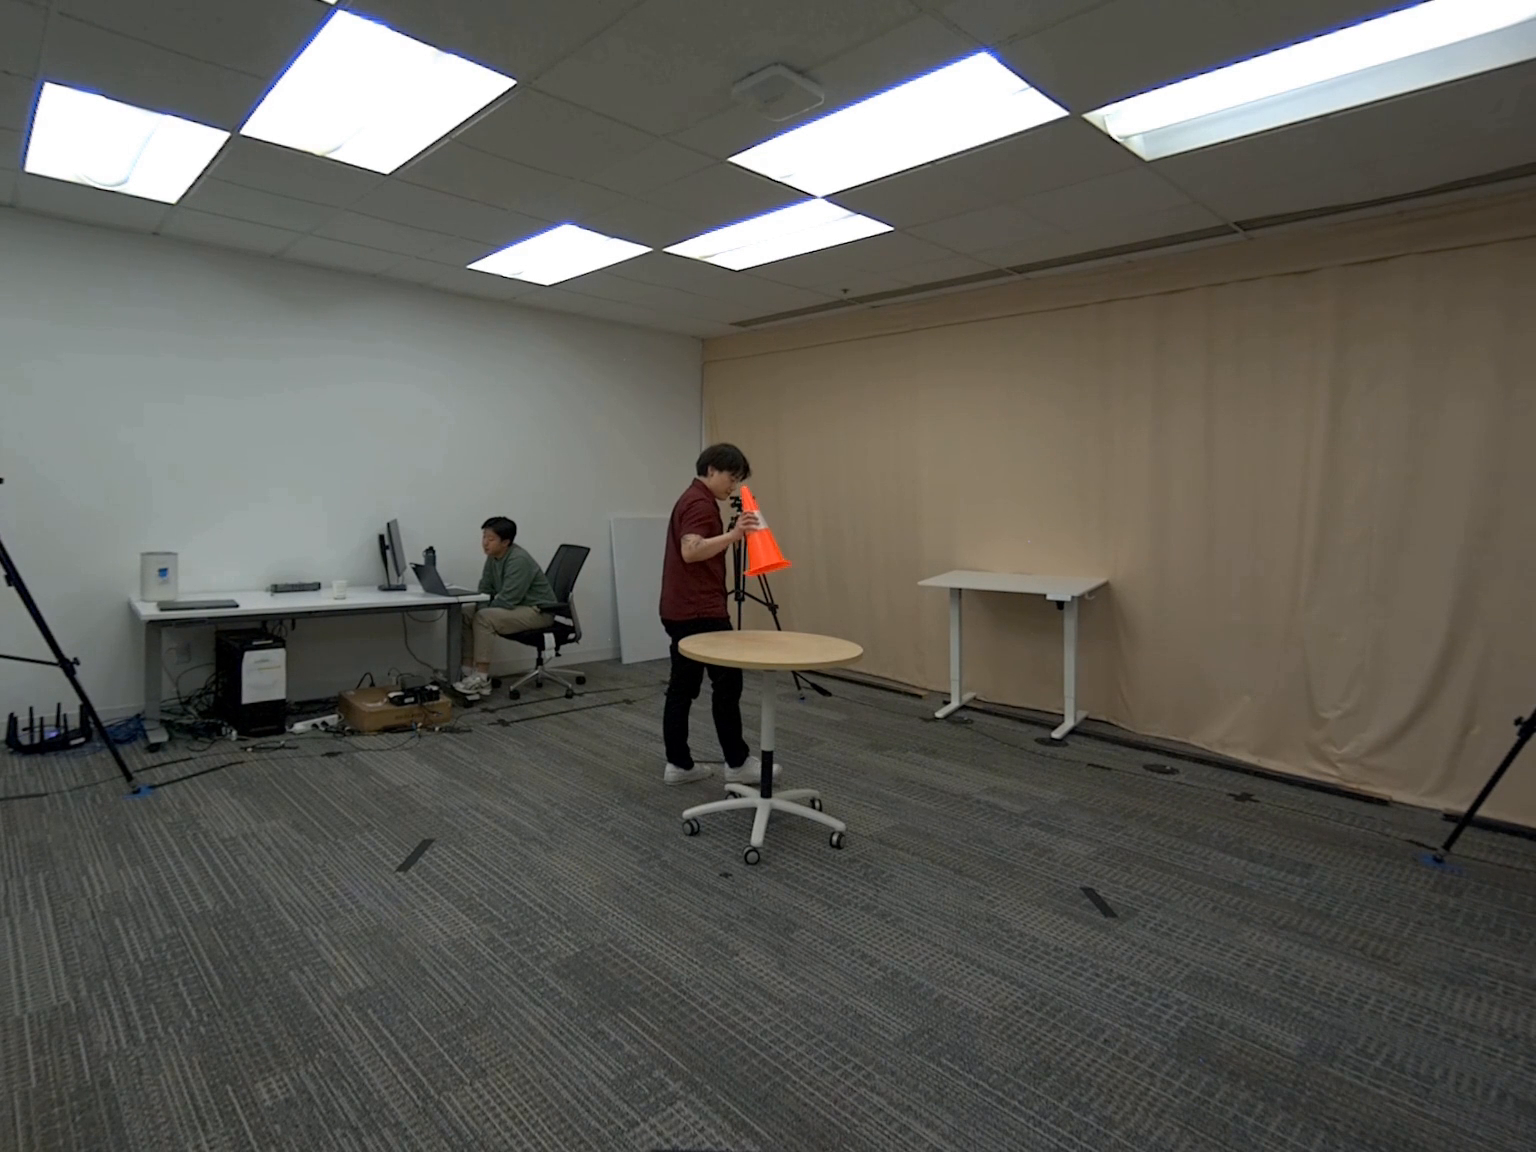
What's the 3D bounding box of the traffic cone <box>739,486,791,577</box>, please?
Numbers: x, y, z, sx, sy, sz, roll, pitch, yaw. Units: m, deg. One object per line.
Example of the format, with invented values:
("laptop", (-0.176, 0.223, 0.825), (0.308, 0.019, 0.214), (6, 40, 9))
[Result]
("traffic cone", (-0.052, -0.209, 3.690), (0.206, 0.388, 0.200), (-20, -12, 27))
